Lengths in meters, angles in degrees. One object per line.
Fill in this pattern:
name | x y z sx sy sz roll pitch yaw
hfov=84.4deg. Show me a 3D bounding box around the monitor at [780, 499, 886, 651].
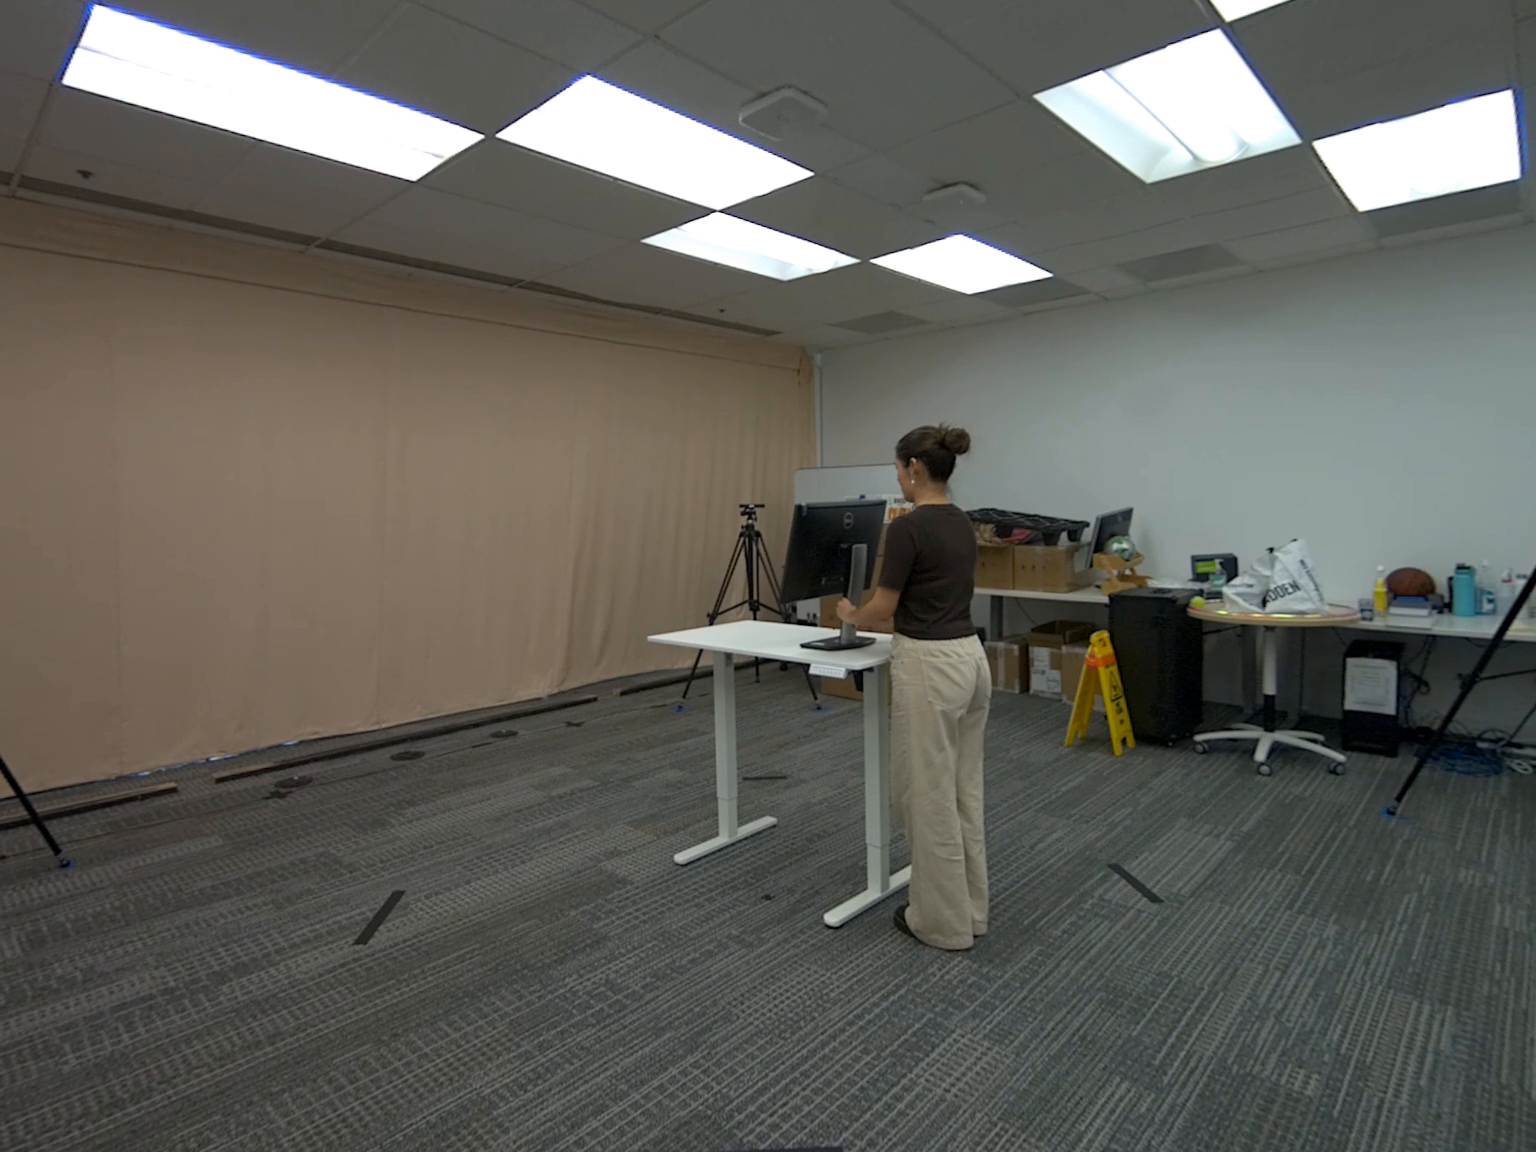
monitor | 0.270 -0.009 3.007 0.180 0.515 0.514 -3 3 41
